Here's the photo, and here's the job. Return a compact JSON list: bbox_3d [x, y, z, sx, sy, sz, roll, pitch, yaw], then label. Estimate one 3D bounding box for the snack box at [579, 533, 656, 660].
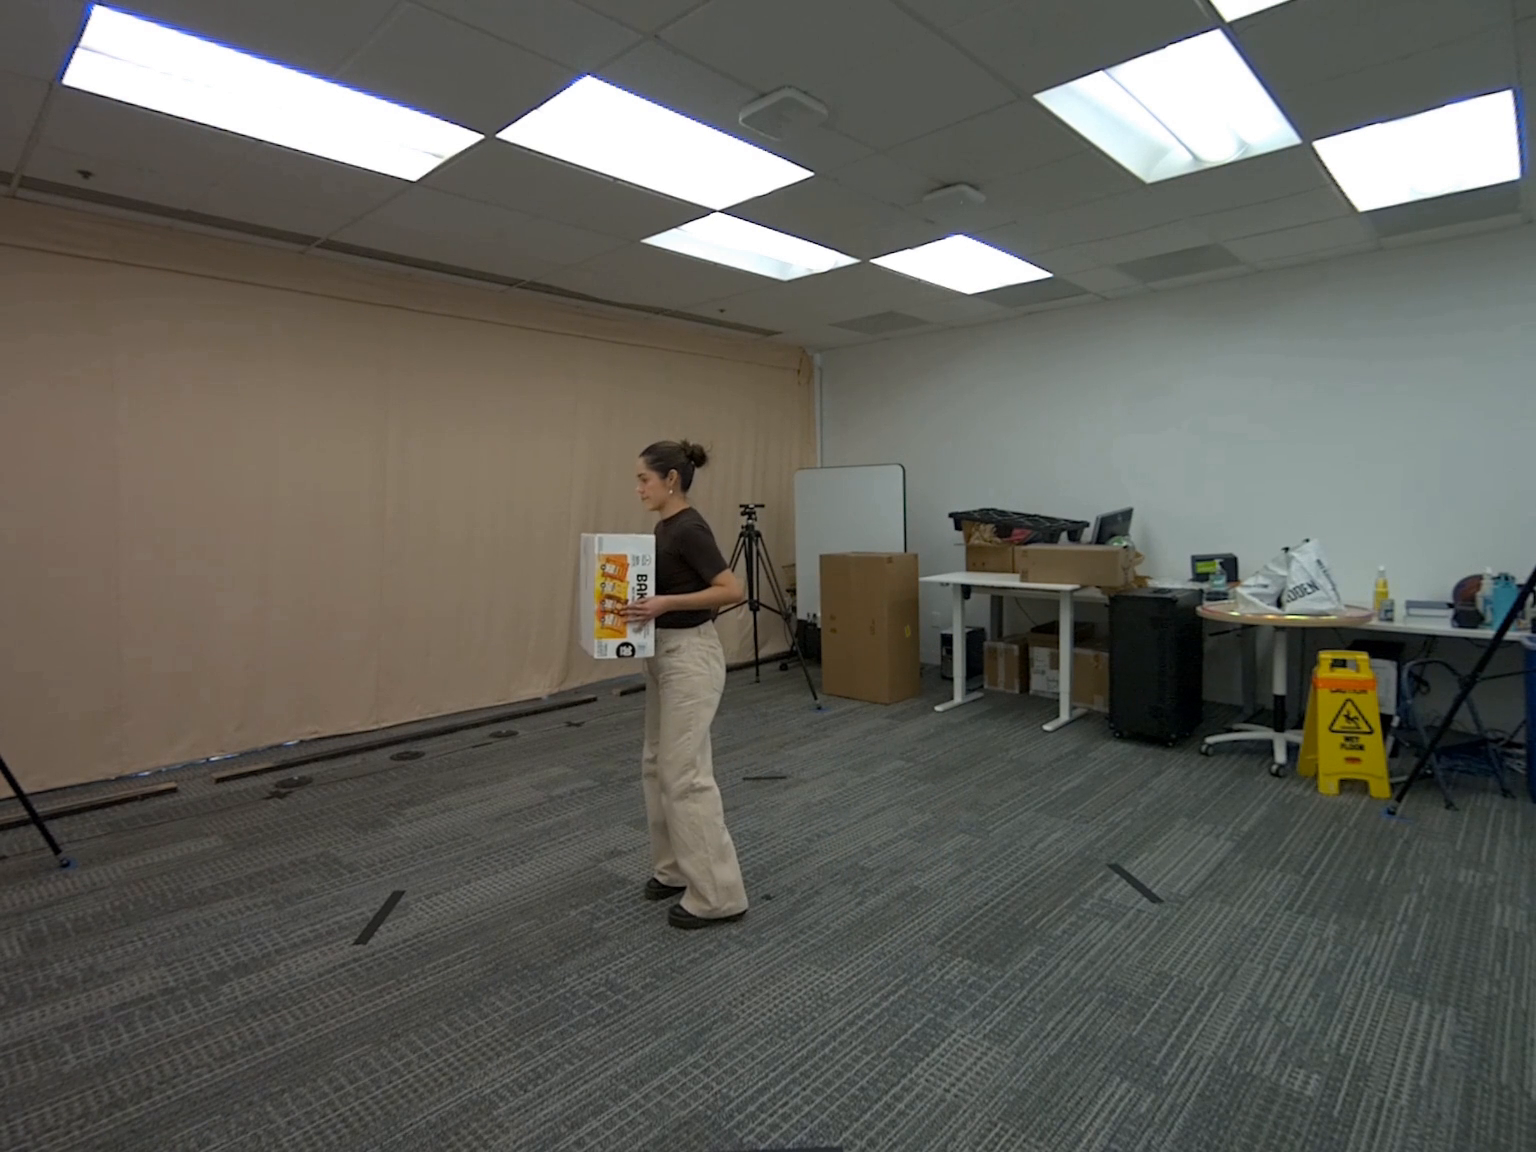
[{"bbox_3d":[-0.522,0.060,2.907,0.202,0.405,0.347,0,2,-19],"label":"snack box"}]
